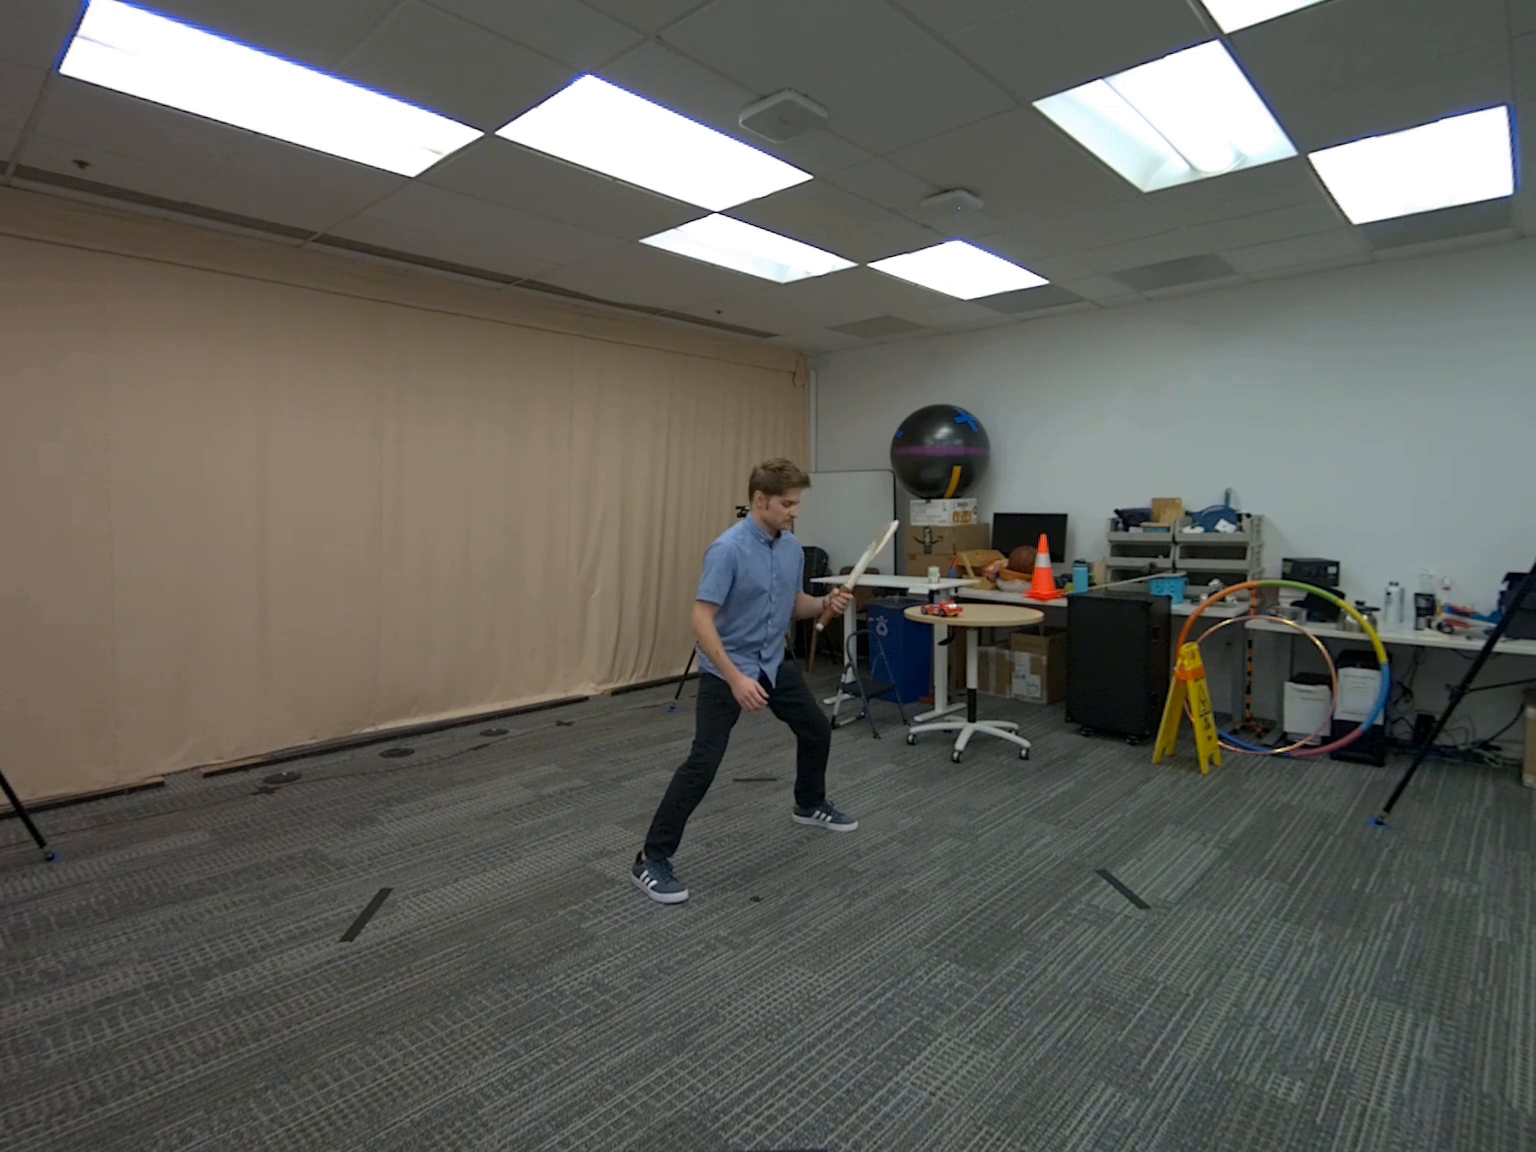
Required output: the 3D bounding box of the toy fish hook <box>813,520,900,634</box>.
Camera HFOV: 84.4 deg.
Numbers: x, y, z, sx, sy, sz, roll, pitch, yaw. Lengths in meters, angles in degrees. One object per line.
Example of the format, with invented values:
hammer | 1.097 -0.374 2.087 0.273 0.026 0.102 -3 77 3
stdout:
toy fish hook | 0.335 0.005 3.167 0.049 0.506 0.223 34 1 4
